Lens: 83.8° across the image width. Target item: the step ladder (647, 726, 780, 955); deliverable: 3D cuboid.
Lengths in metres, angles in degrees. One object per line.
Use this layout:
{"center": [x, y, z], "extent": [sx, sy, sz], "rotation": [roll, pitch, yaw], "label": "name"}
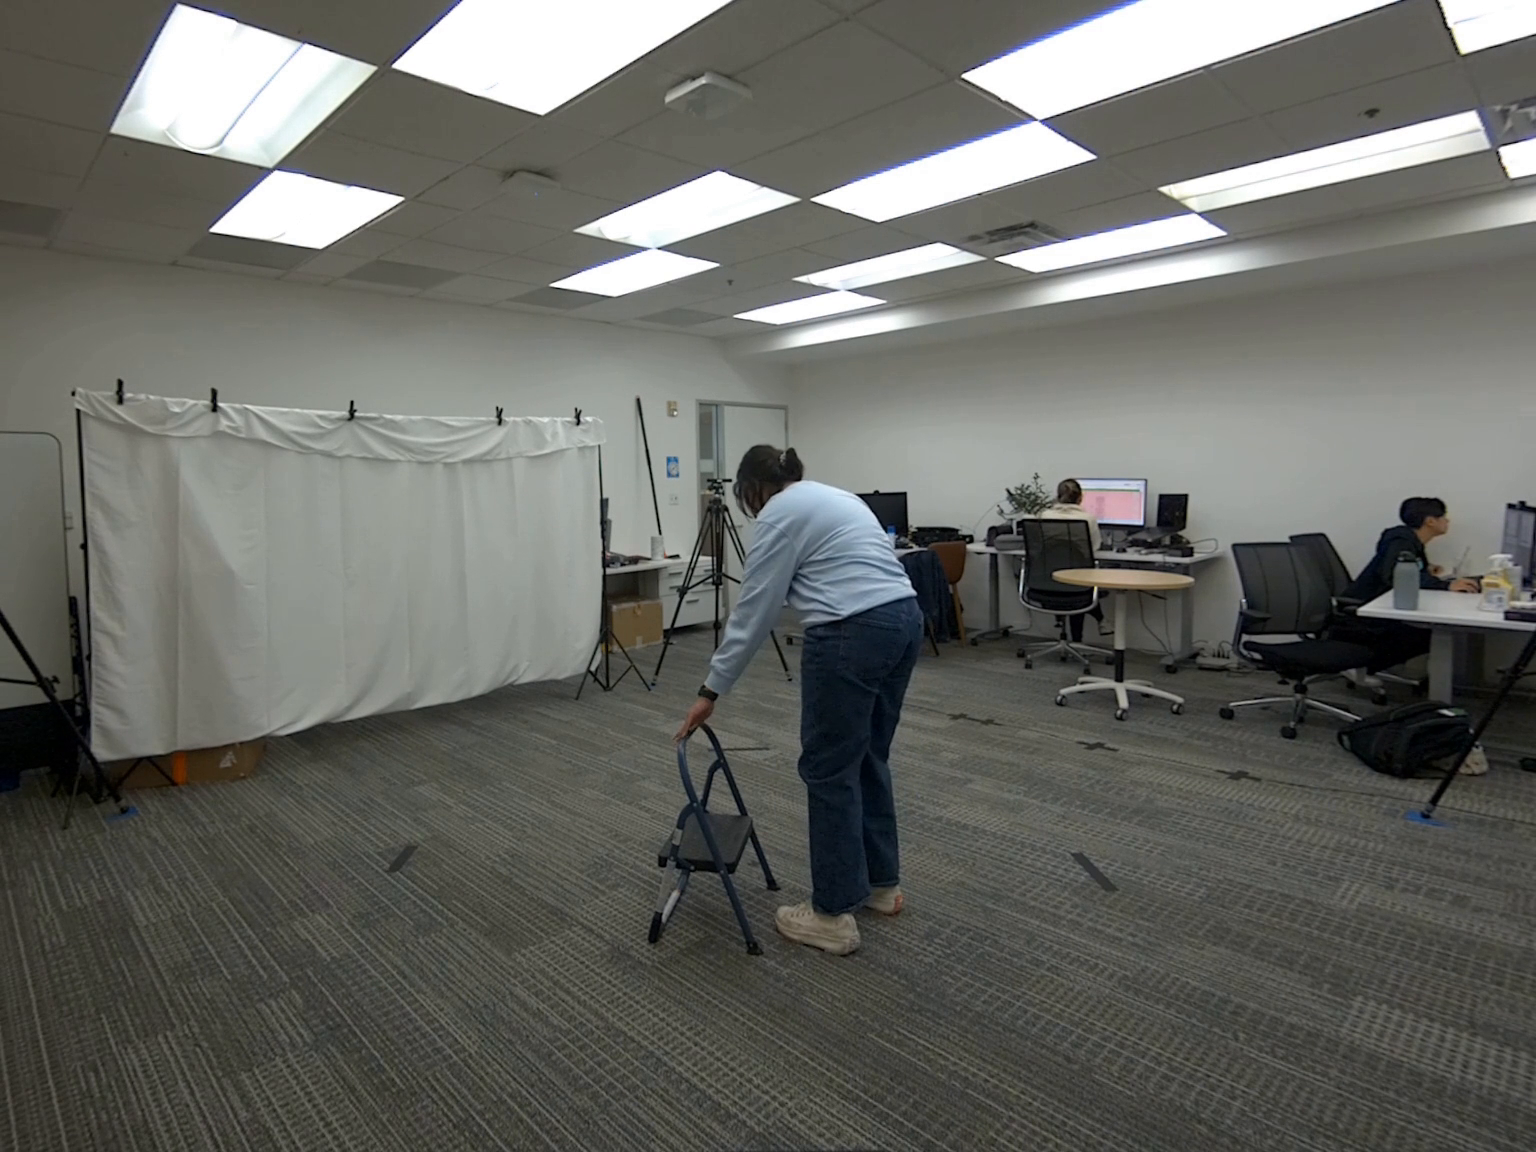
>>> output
{"center": [-0.165, 0.791, 2.727], "extent": [0.353, 0.604, 0.428], "rotation": [1, 5, 10], "label": "step ladder"}
